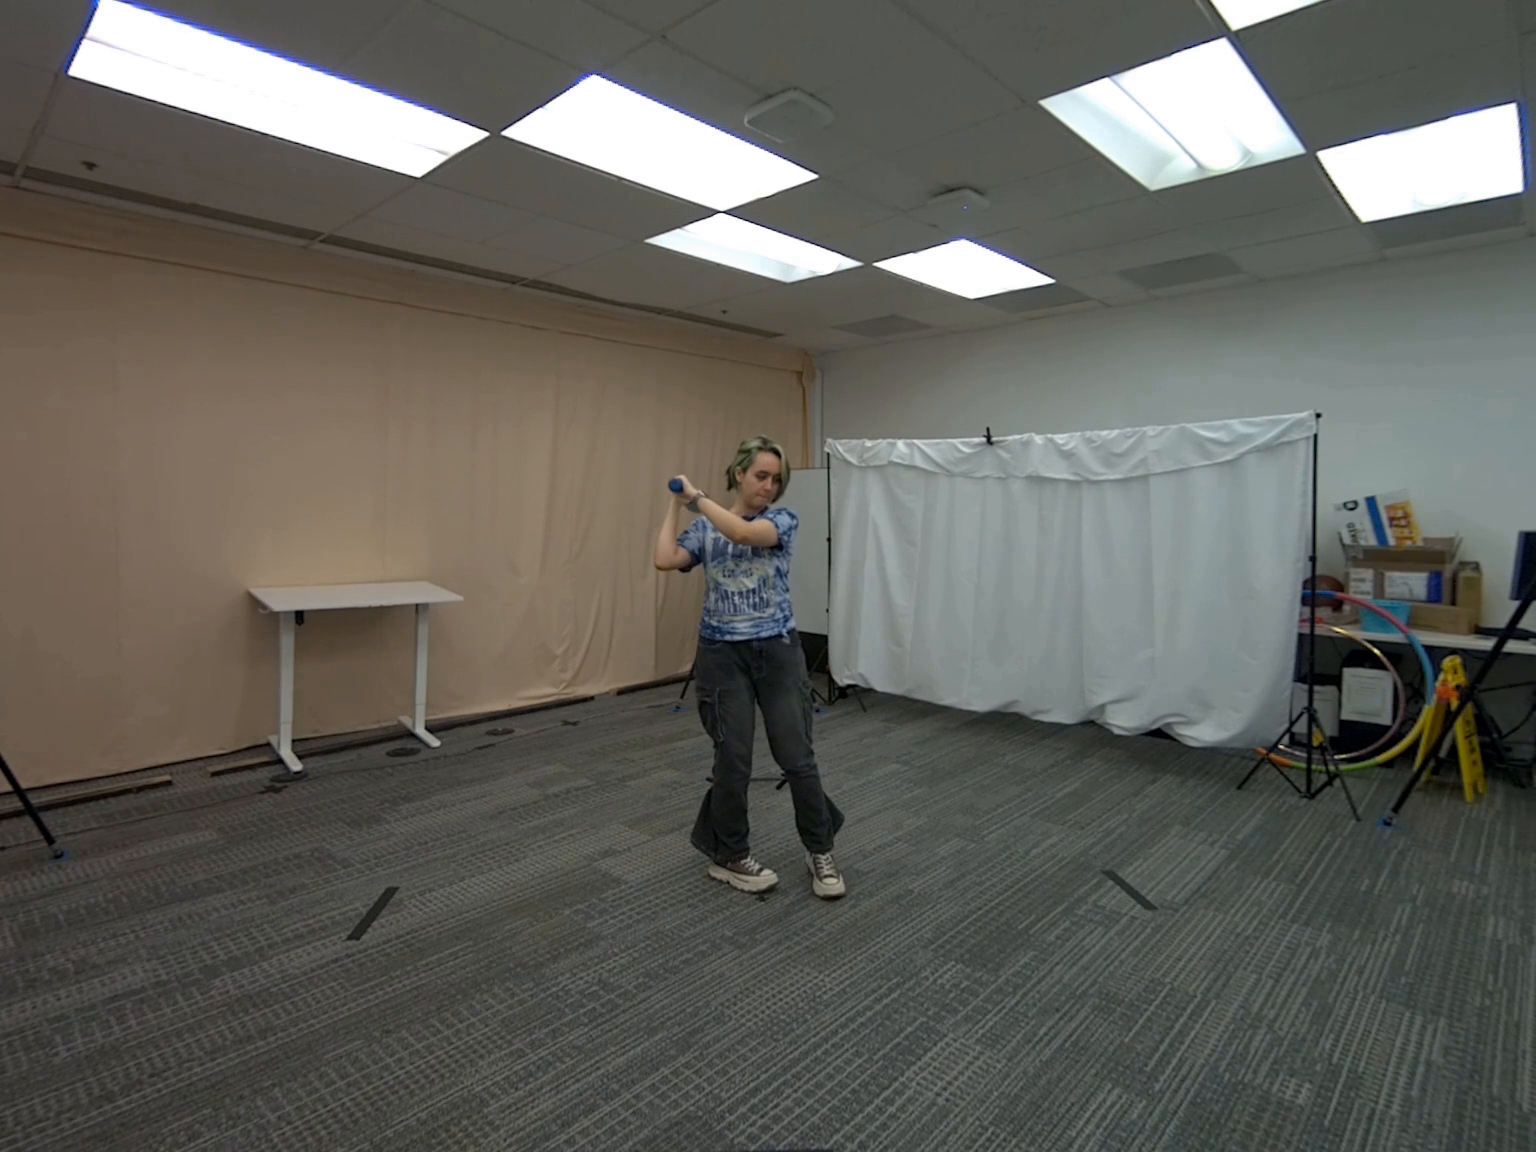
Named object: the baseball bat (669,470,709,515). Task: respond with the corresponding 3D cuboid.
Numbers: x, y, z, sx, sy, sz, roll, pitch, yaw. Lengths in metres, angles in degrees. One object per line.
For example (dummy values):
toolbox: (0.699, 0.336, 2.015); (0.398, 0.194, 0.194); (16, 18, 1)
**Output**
baseball bat: (-0.290, -0.305, 3.163); (0.089, 0.089, 0.540); (0, -2, 1)
